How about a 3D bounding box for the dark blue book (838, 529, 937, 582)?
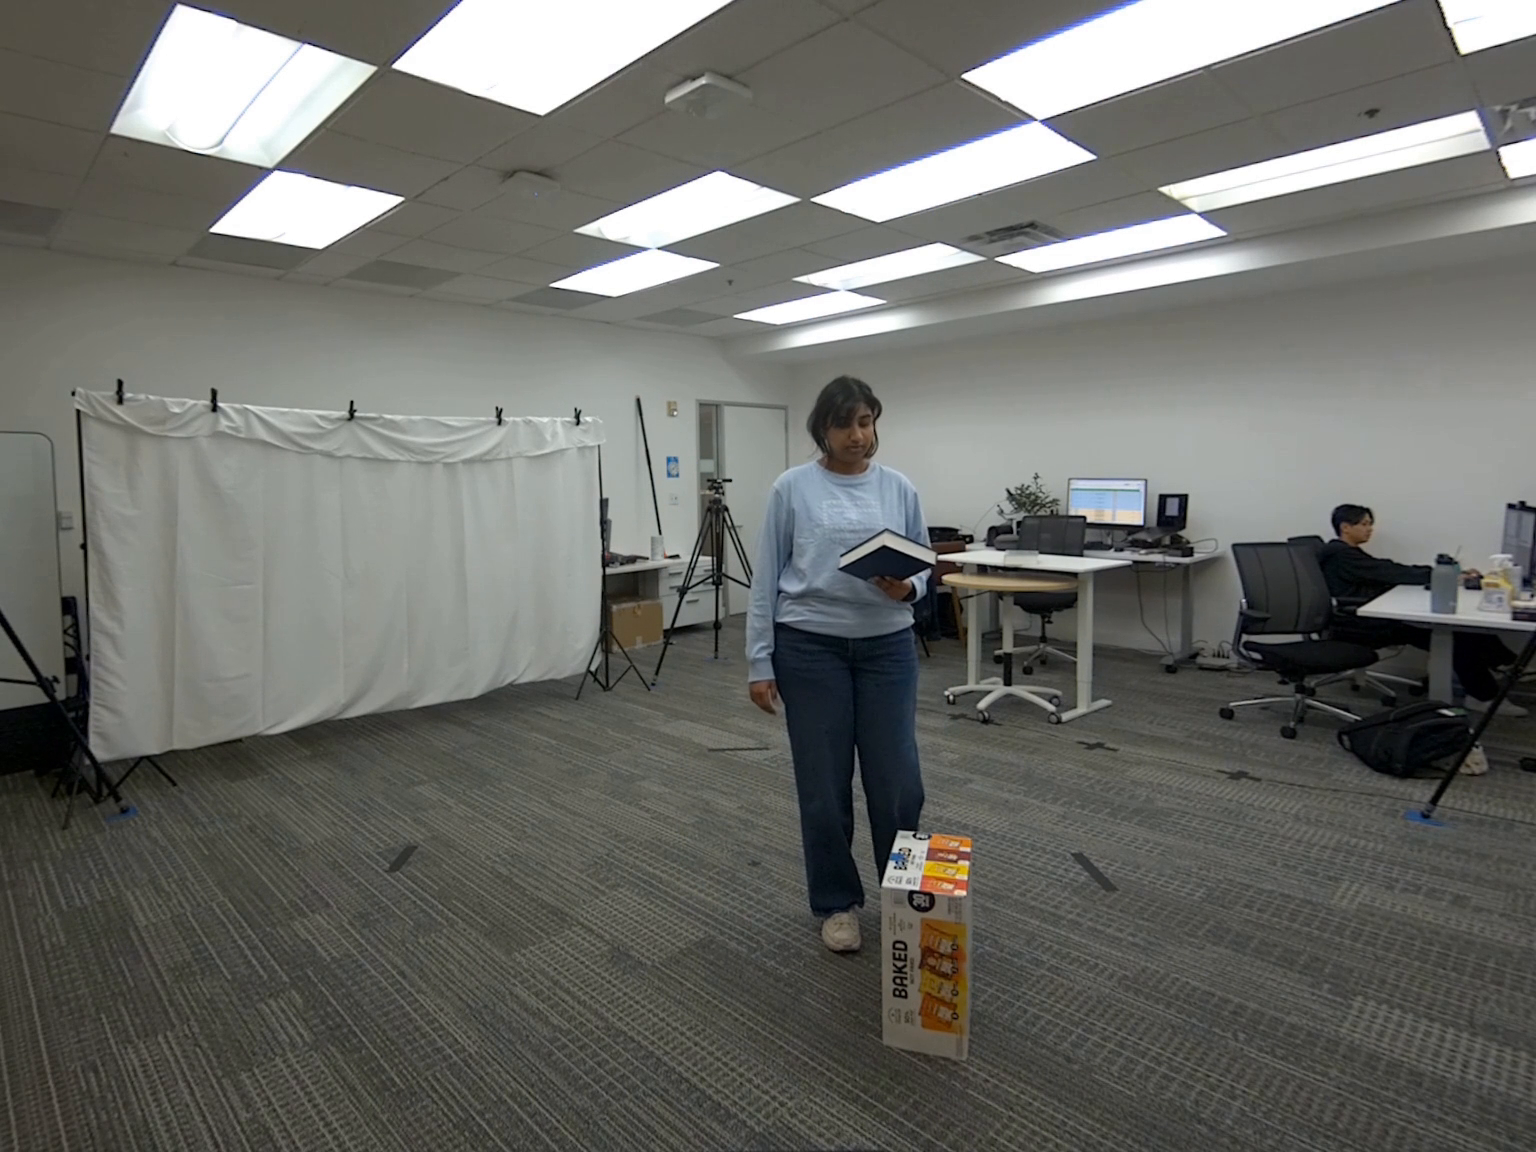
[{"bbox_3d":[0.304,-0.040,2.302,0.160,0.046,0.246,22,-23,-16],"label":"dark blue book"}]
